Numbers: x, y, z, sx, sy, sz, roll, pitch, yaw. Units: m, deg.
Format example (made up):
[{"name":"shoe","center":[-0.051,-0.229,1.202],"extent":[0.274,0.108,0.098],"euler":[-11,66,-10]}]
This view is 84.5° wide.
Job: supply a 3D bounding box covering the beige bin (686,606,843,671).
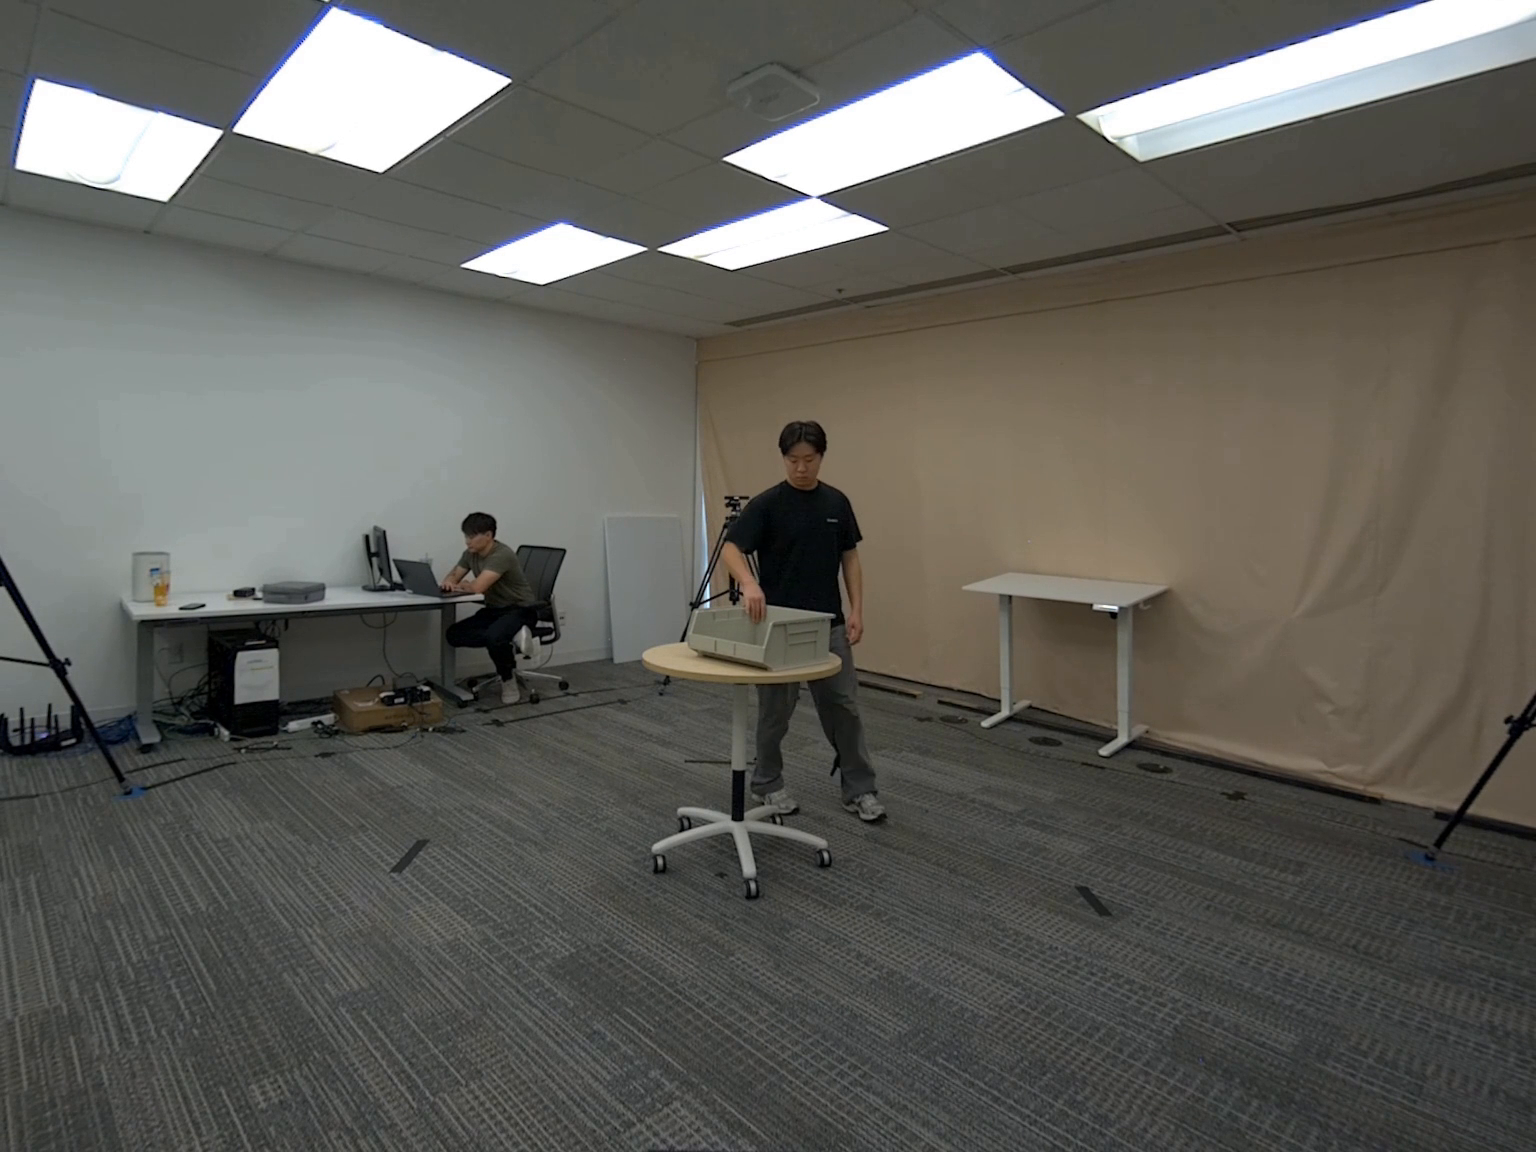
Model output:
[{"name":"beige bin","center":[-0.038,0.227,3.180],"extent":[0.368,0.189,0.433],"euler":[-1,3,-44]}]
